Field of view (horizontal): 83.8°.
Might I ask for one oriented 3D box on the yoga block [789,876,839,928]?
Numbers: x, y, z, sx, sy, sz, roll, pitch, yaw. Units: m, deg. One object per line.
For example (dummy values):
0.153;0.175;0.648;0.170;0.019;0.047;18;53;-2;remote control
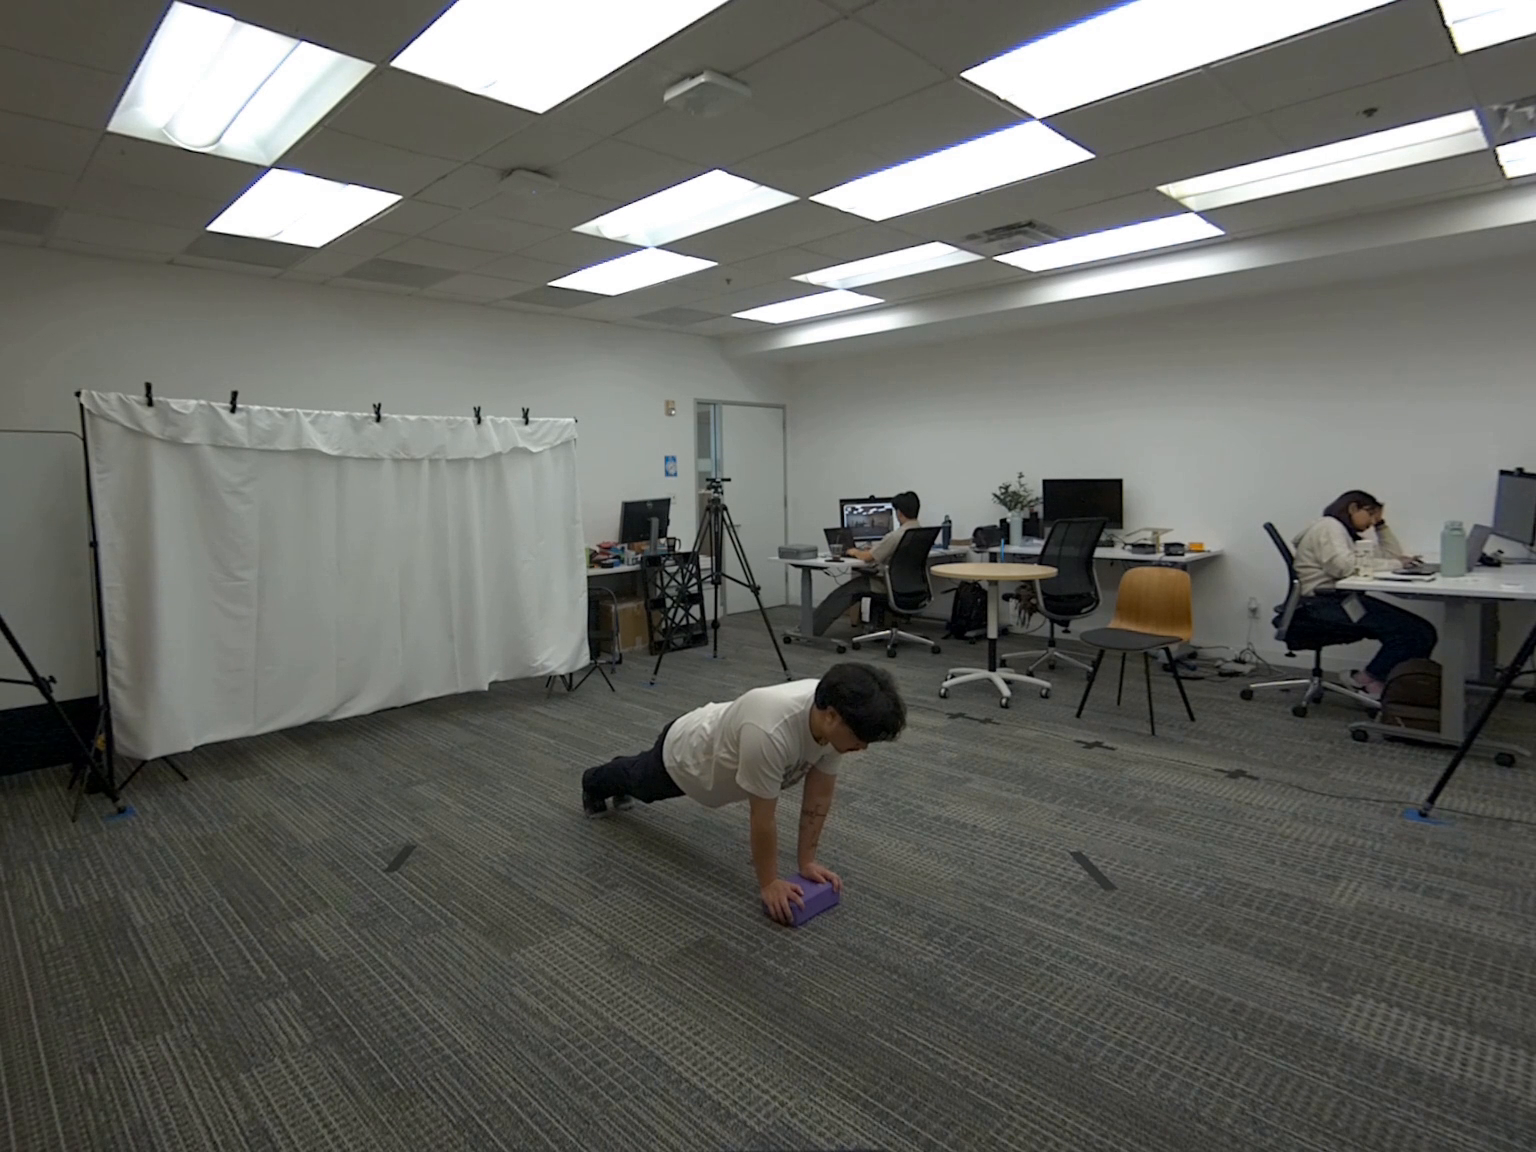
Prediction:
0.111;1.043;2.775;0.154;0.076;0.223;6;9;43;yoga block
